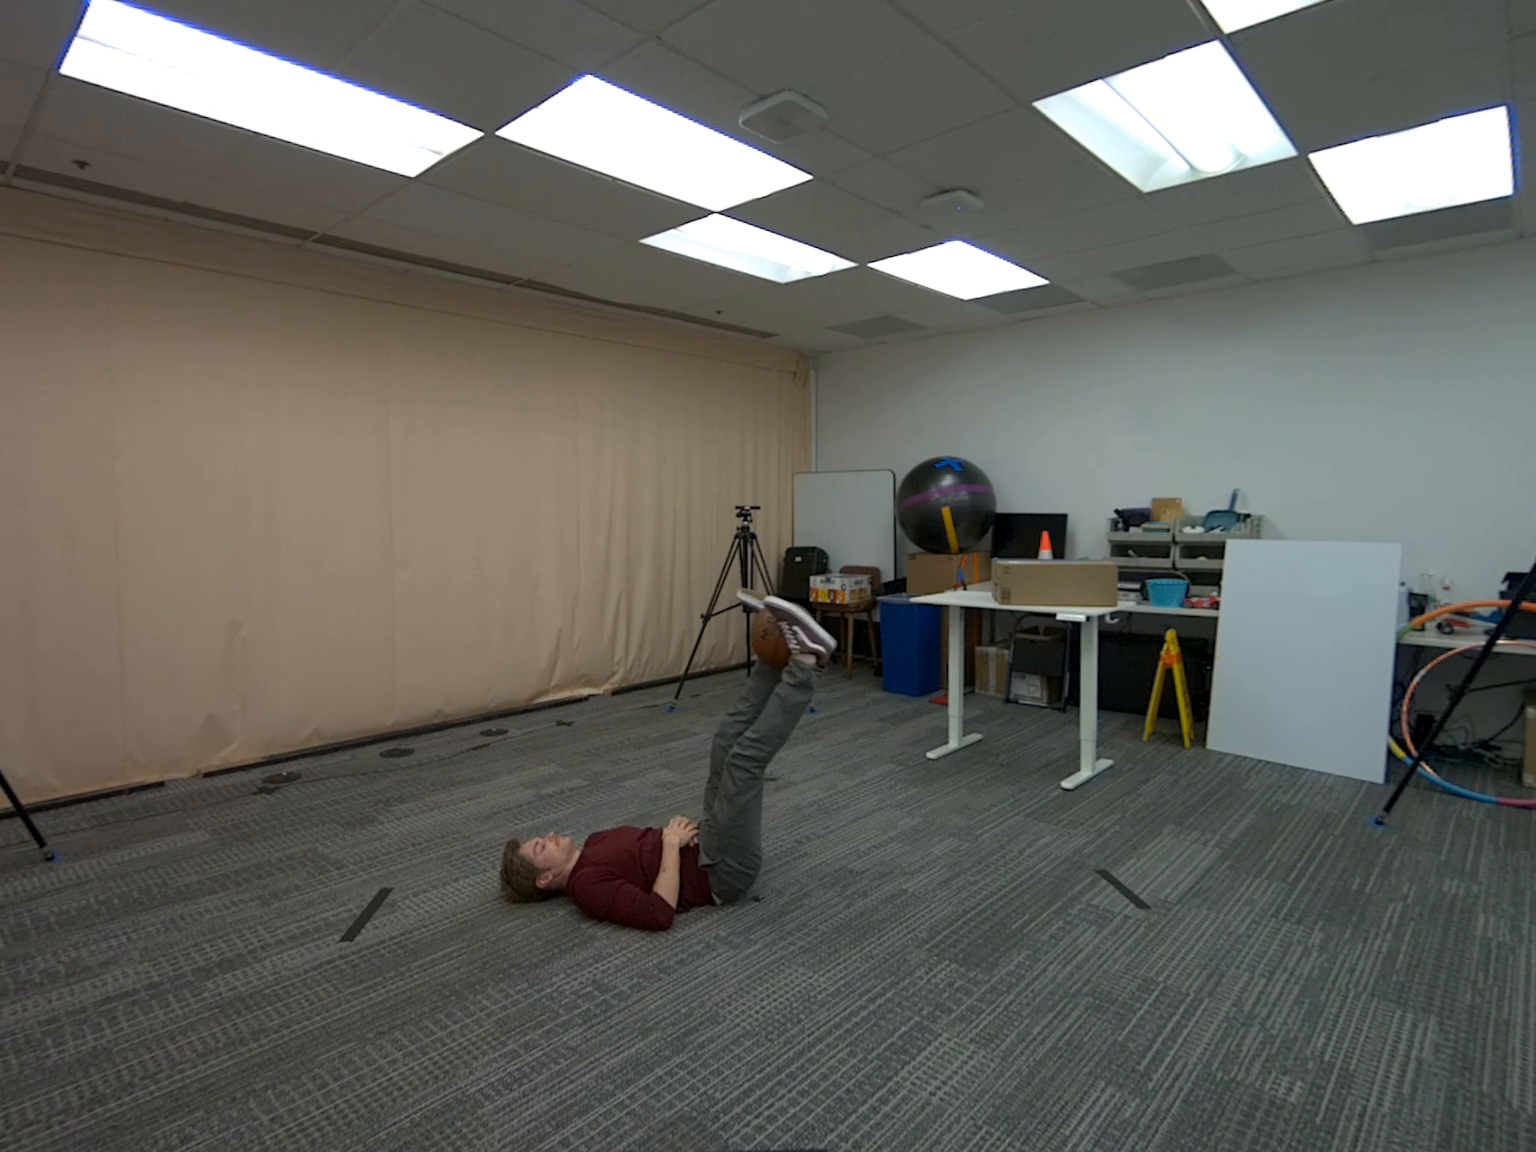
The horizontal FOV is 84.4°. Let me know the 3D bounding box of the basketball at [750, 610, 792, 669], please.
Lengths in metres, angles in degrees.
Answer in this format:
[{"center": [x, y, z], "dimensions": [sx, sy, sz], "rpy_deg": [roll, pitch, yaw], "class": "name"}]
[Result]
[{"center": [0.072, 0.215, 2.961], "dimensions": [0.235, 0.235, 0.237], "rpy_deg": [3, 5, -2], "class": "basketball"}]
